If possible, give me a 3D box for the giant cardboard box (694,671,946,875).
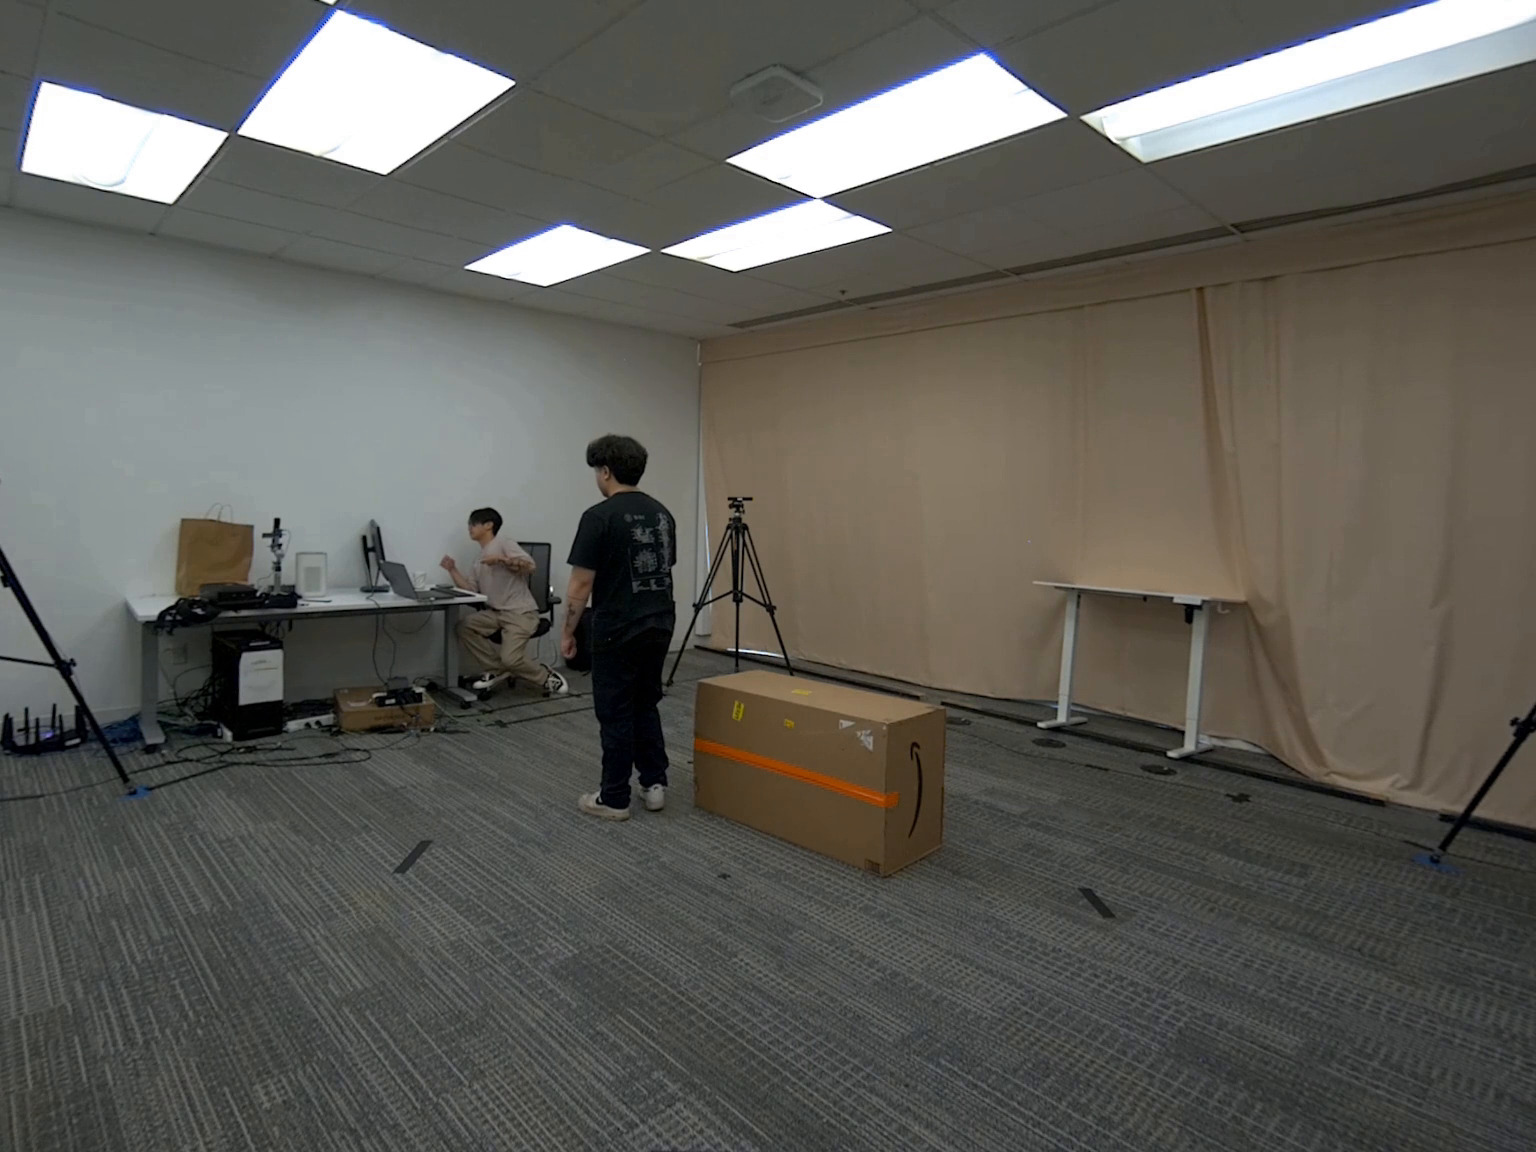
[{"bbox_3d":[0.184,0.785,3.604,1.053,0.582,0.437,5,5,42],"label":"giant cardboard box"}]
